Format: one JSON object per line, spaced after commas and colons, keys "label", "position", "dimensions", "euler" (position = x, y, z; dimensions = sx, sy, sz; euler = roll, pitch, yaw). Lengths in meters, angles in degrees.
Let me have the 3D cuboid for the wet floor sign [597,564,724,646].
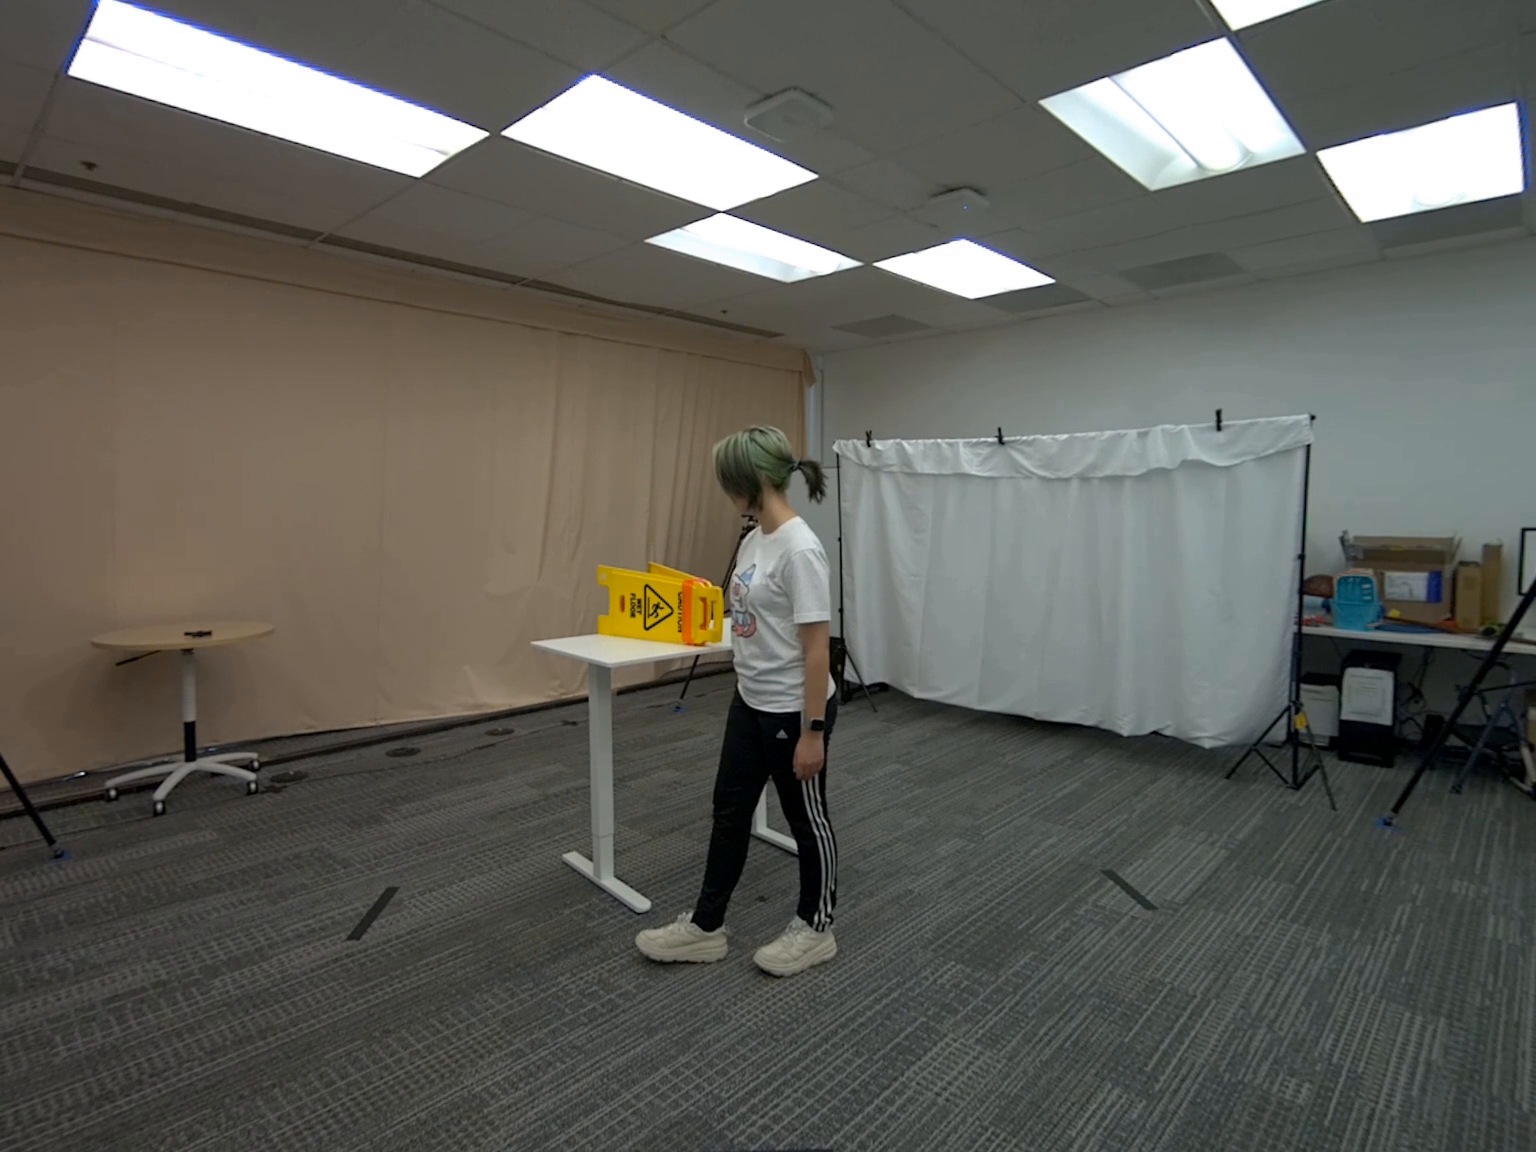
{"label": "wet floor sign", "position": [-0.378, 0.117, 3.234], "dimensions": [0.281, 0.281, 0.668], "euler": [-4, 7, -40]}
